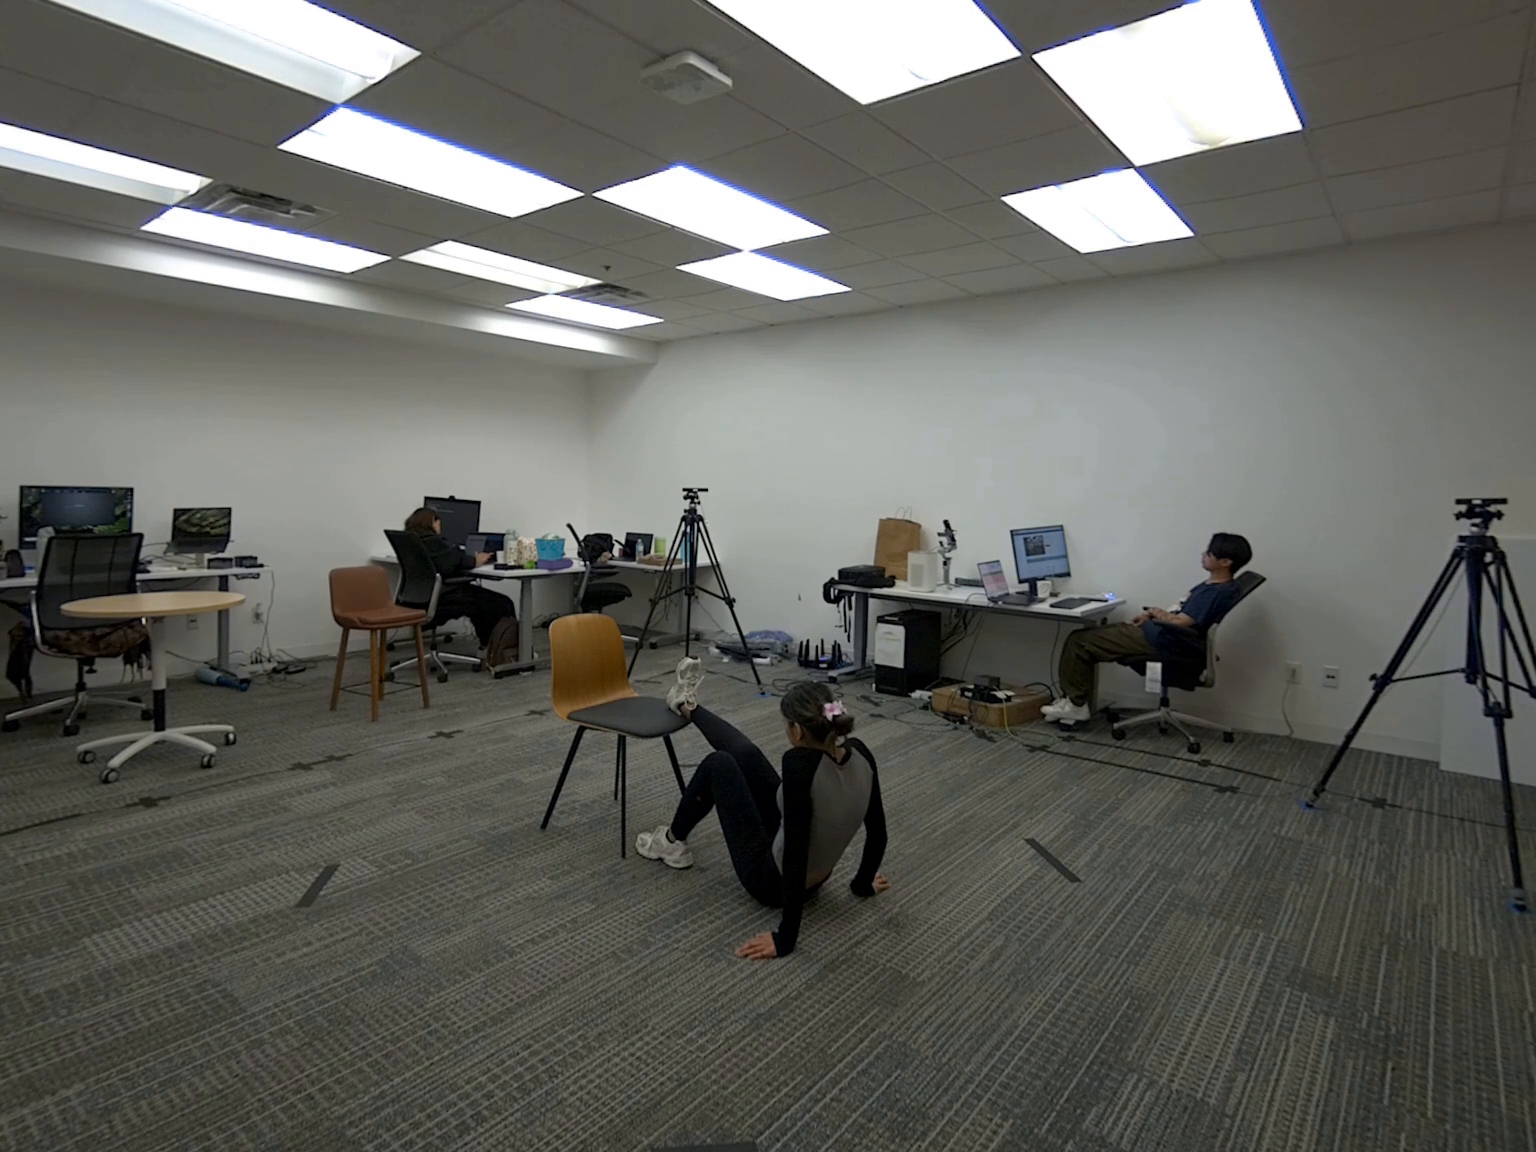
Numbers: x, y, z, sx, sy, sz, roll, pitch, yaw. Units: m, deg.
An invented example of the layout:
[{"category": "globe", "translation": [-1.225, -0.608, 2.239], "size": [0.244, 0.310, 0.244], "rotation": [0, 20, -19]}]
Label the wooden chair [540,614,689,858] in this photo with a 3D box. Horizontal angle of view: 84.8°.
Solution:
[{"category": "wooden chair", "translation": [-0.605, 0.599, 3.466], "size": [0.538, 0.877, 0.464], "rotation": [-2, 1, 34]}]
